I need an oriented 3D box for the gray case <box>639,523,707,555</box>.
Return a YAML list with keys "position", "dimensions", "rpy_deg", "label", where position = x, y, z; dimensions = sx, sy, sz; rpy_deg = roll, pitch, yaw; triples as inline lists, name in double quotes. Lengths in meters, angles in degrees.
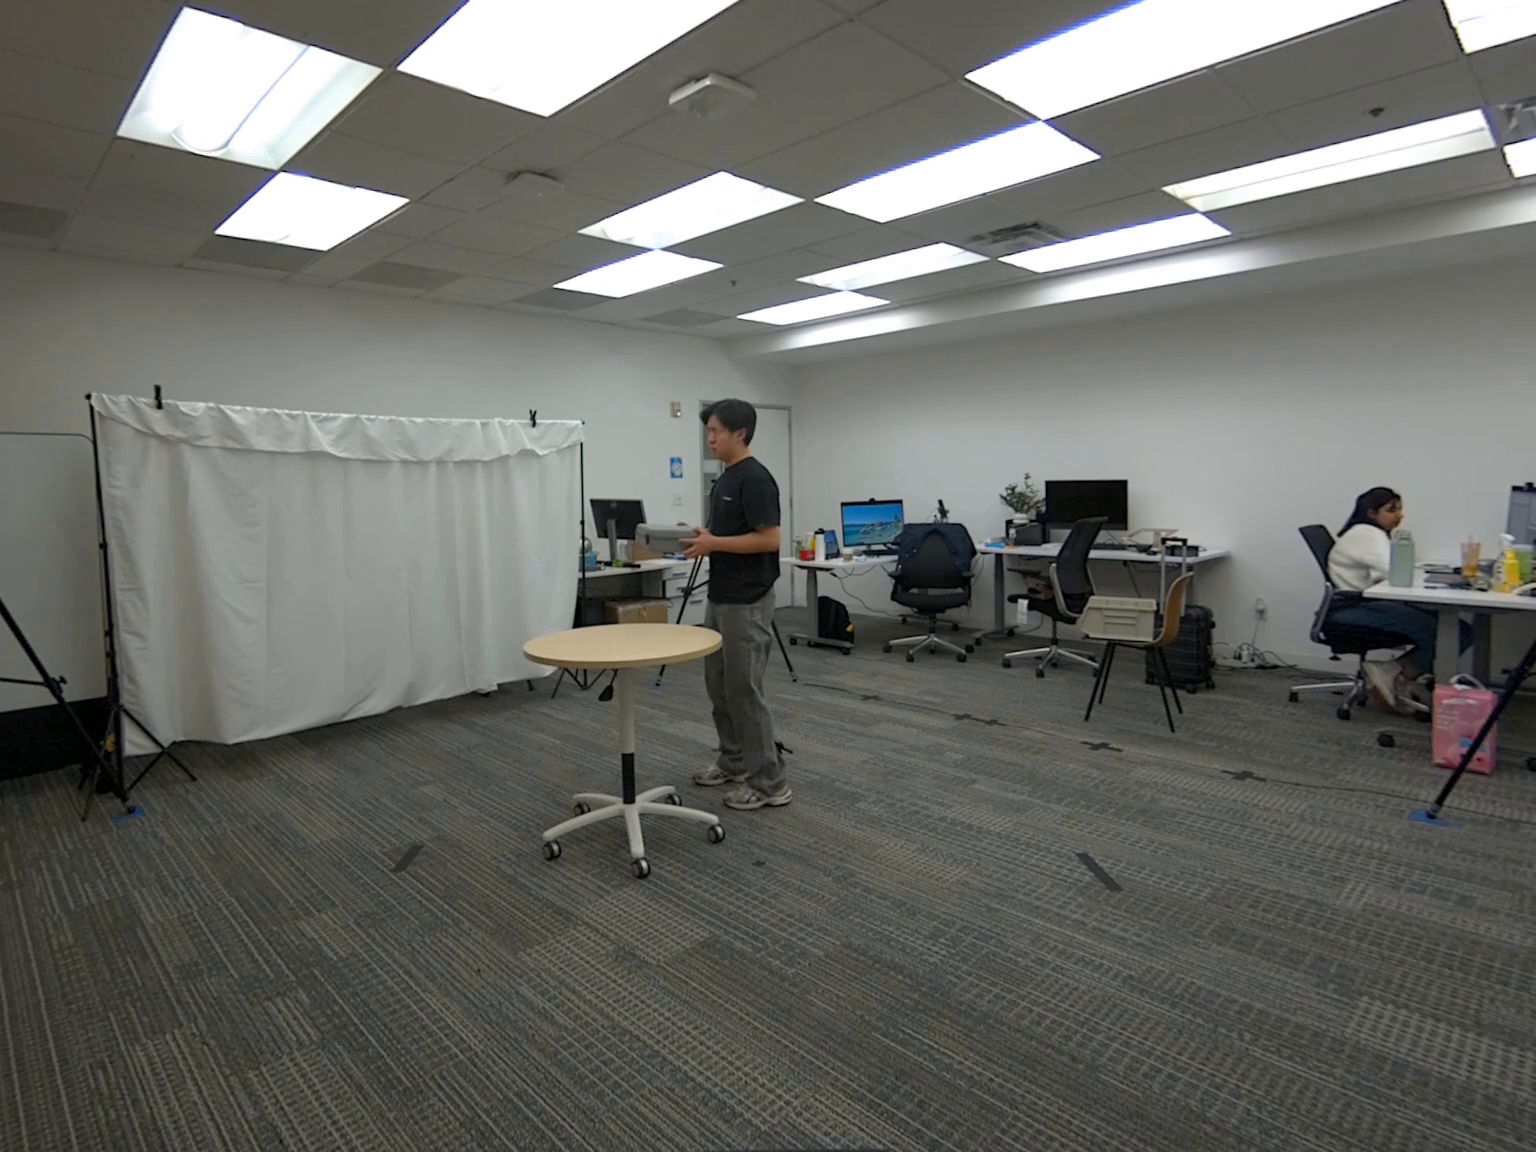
- position: [-0.397, -0.165, 3.730]
  dimensions: [0.283, 0.102, 0.268]
  rpy_deg: [0, 8, -15]
  label: "gray case"
